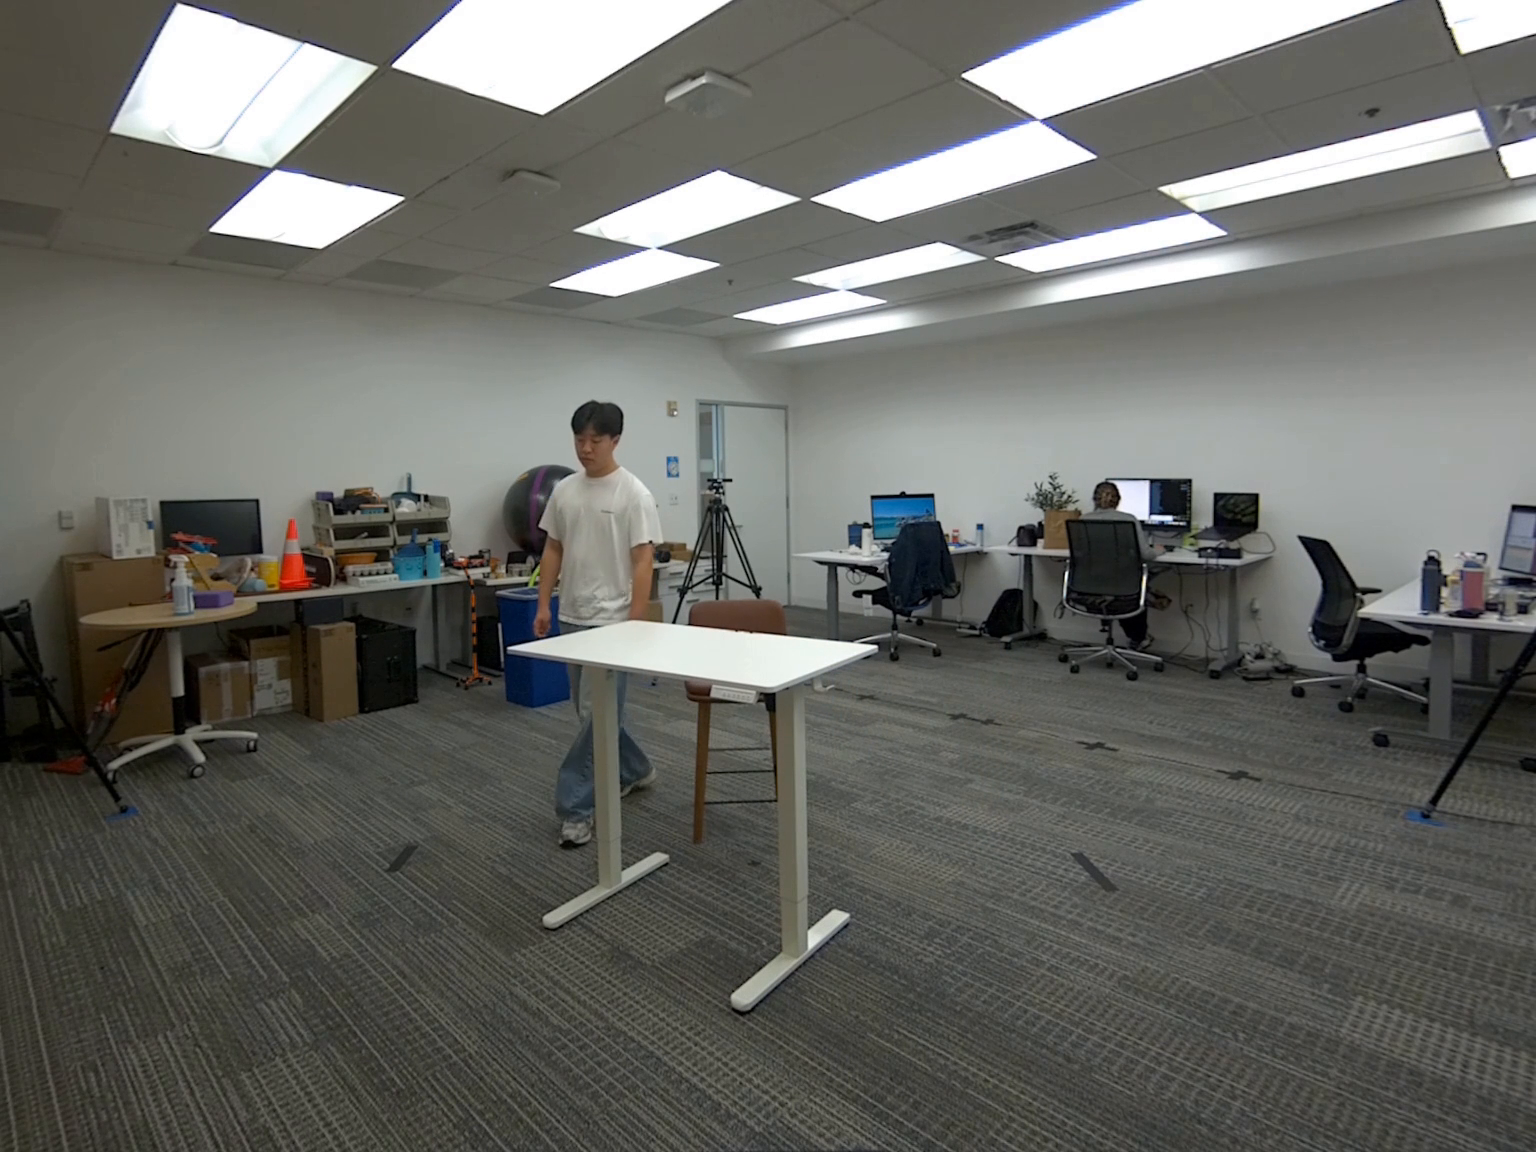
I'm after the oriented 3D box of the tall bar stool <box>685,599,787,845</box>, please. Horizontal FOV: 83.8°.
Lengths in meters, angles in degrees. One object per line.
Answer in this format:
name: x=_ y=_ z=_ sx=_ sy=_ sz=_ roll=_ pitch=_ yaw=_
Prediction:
tall bar stool: x=-0.108 y=0.568 z=3.490 sx=0.455 sy=0.888 sz=0.470 roll=-1 pitch=2 yaw=-5
